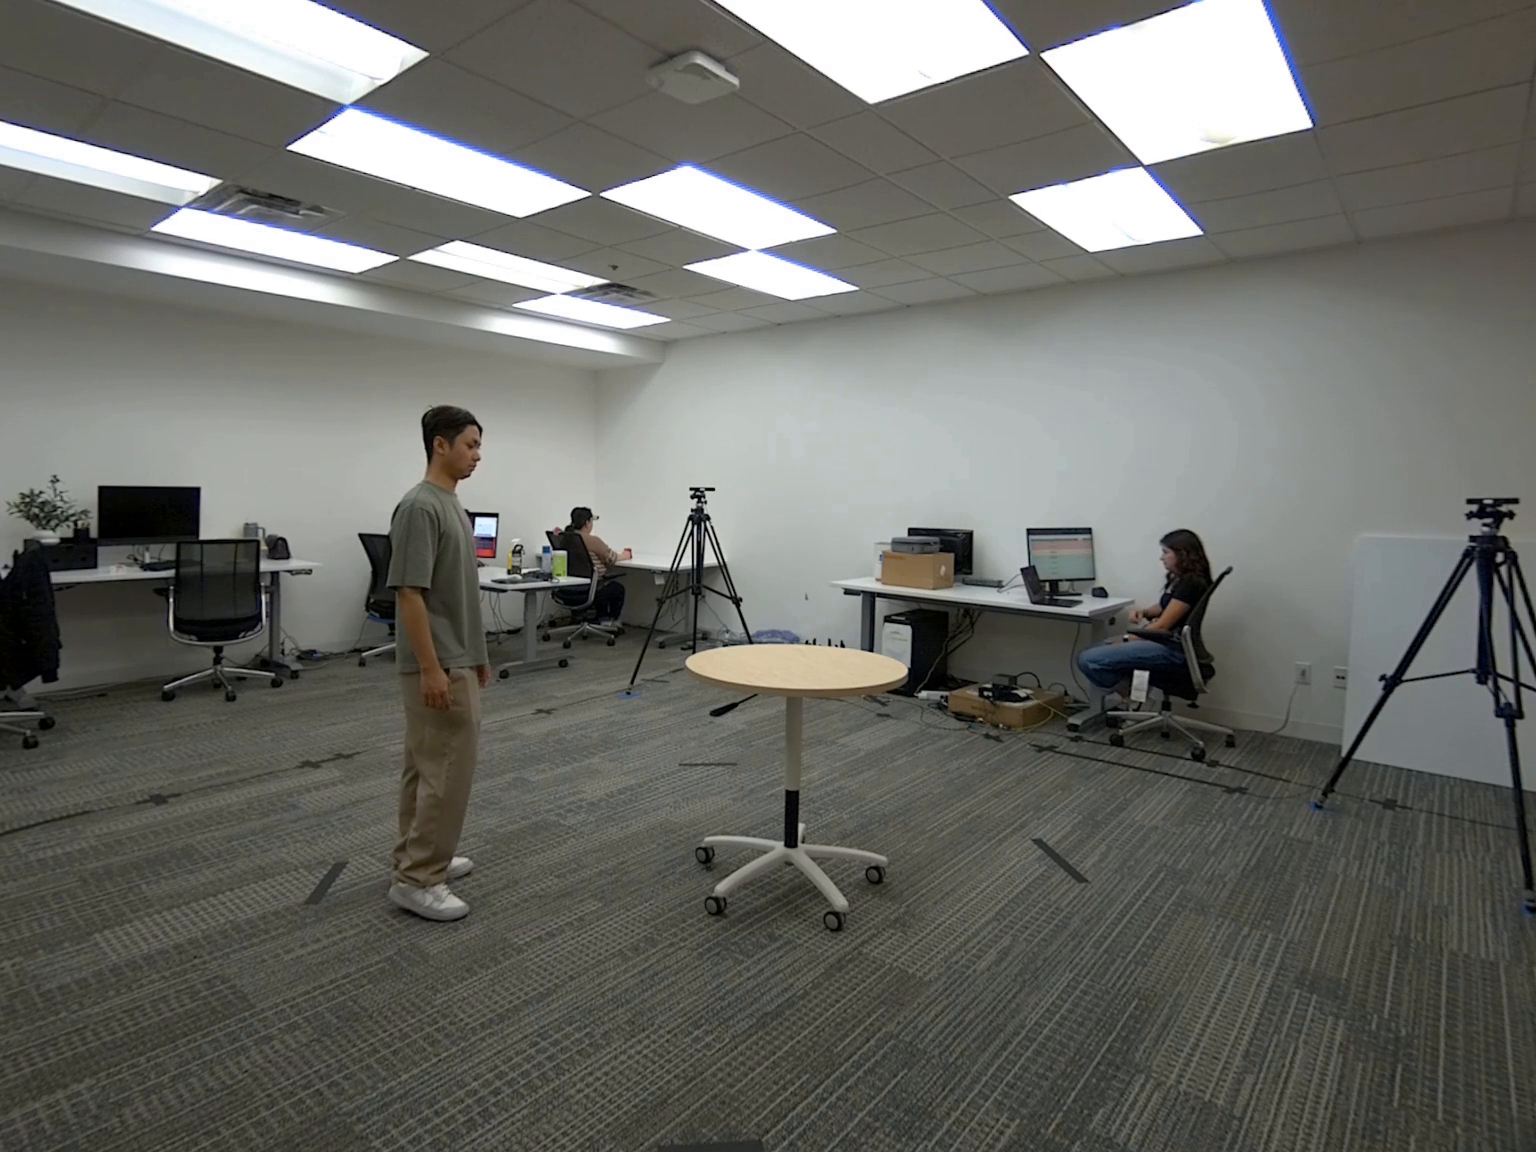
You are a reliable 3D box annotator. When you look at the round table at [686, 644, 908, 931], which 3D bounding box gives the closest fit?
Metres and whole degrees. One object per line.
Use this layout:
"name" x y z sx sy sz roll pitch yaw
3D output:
"round table" 0.082 0.691 2.992 0.784 0.784 0.789 1 4 -2
